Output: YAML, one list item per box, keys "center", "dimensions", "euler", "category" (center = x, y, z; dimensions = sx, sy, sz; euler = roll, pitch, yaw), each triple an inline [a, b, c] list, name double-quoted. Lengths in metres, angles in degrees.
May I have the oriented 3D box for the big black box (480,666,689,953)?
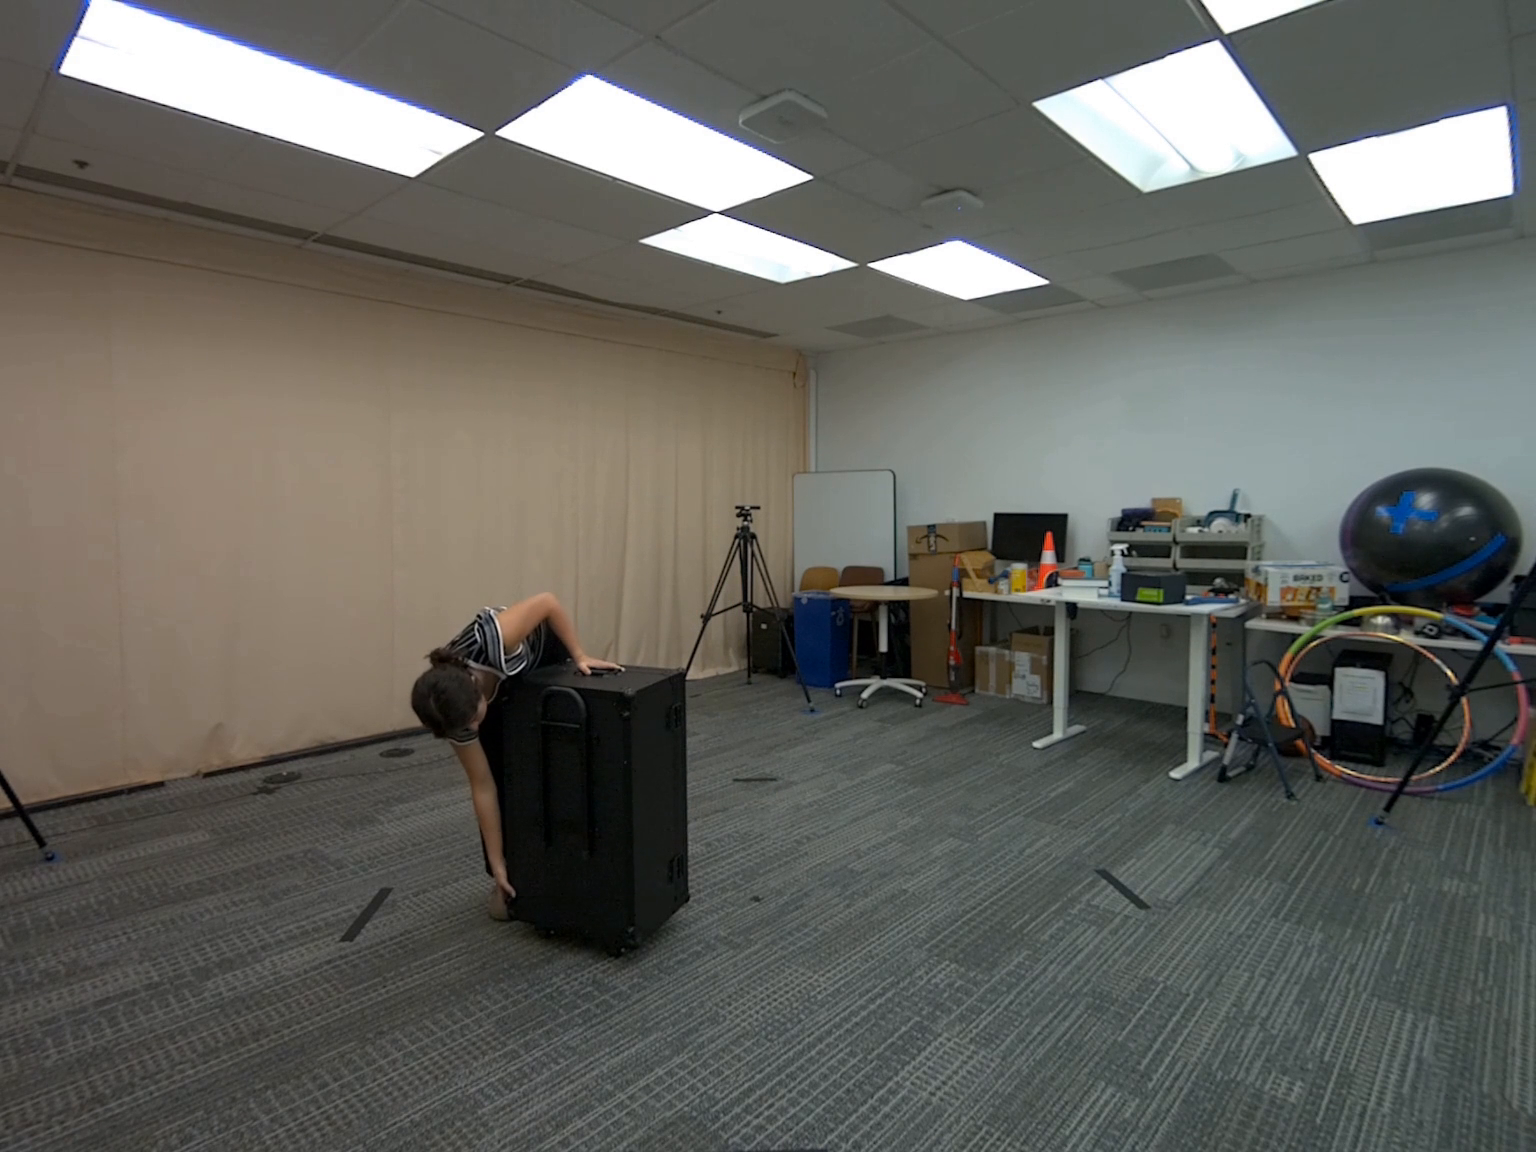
- center: [-0.546, 0.748, 2.734]
  dimensions: [0.535, 0.858, 0.387]
  euler: [1, 6, 25]
  category: "big black box"
